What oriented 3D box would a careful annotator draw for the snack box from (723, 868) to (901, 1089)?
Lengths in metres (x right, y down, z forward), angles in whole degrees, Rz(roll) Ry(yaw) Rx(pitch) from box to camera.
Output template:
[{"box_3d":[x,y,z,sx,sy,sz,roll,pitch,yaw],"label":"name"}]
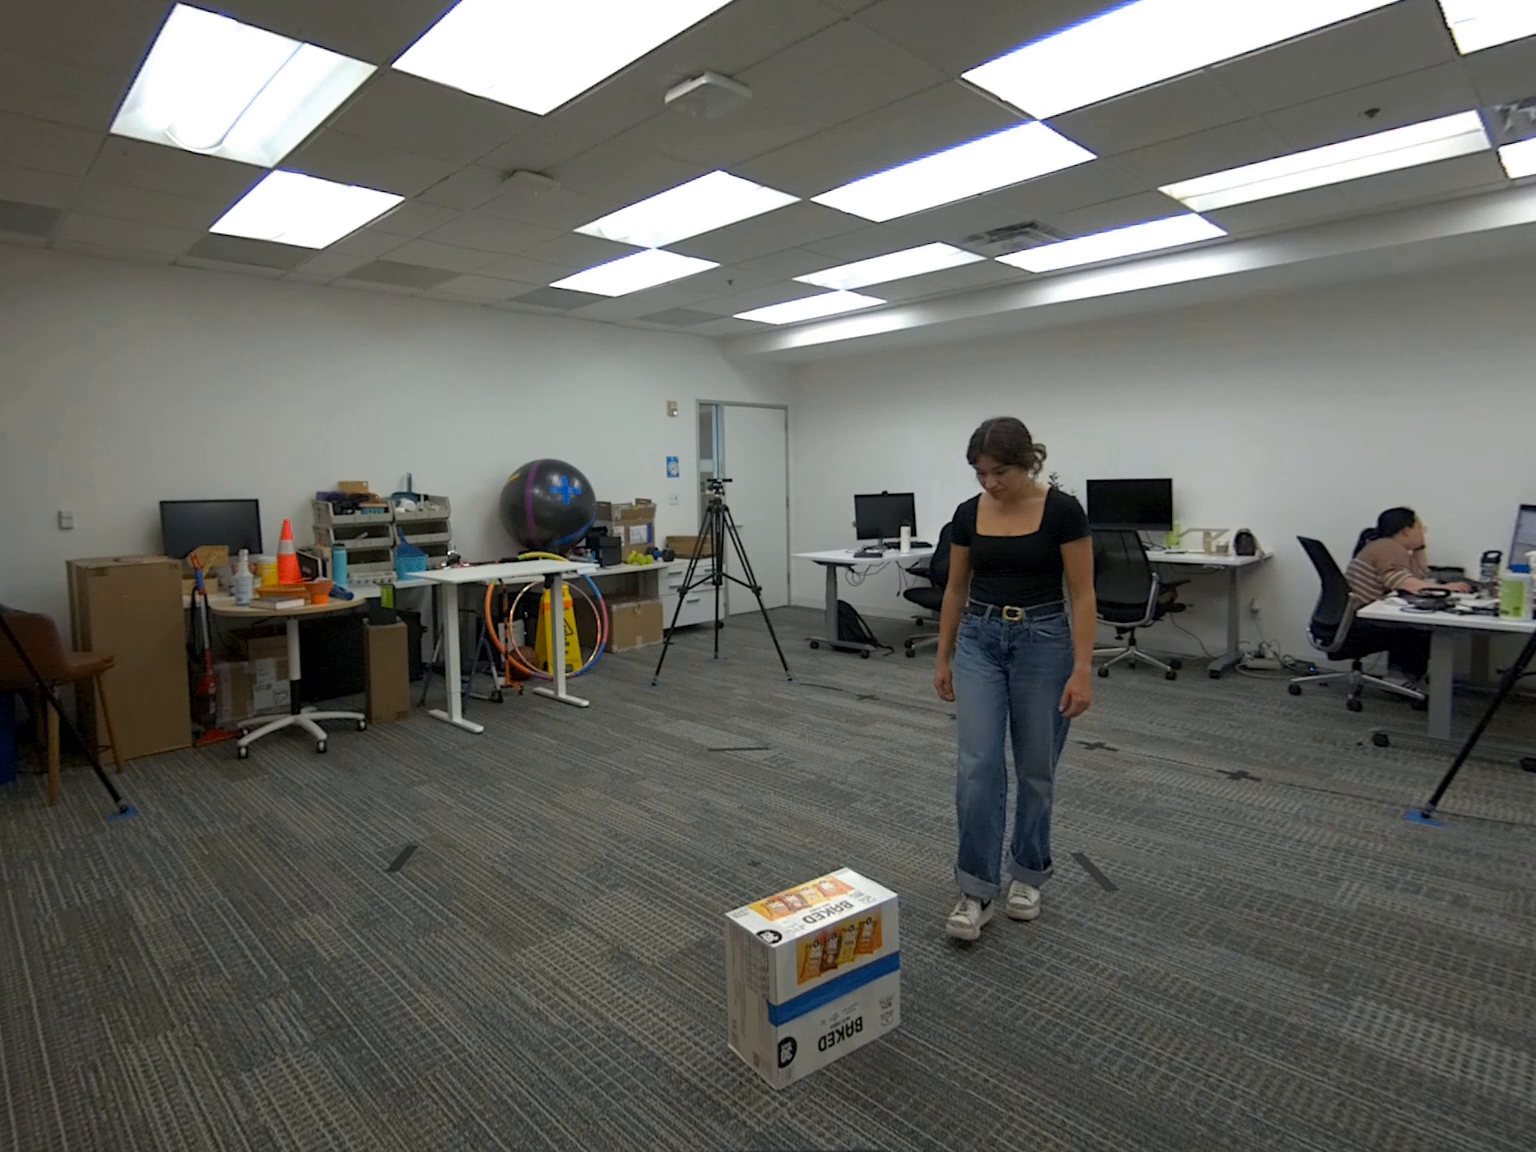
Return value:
[{"box_3d":[0.121,0.987,2.134,0.395,0.339,0.211,-5,4,-36],"label":"snack box"}]
